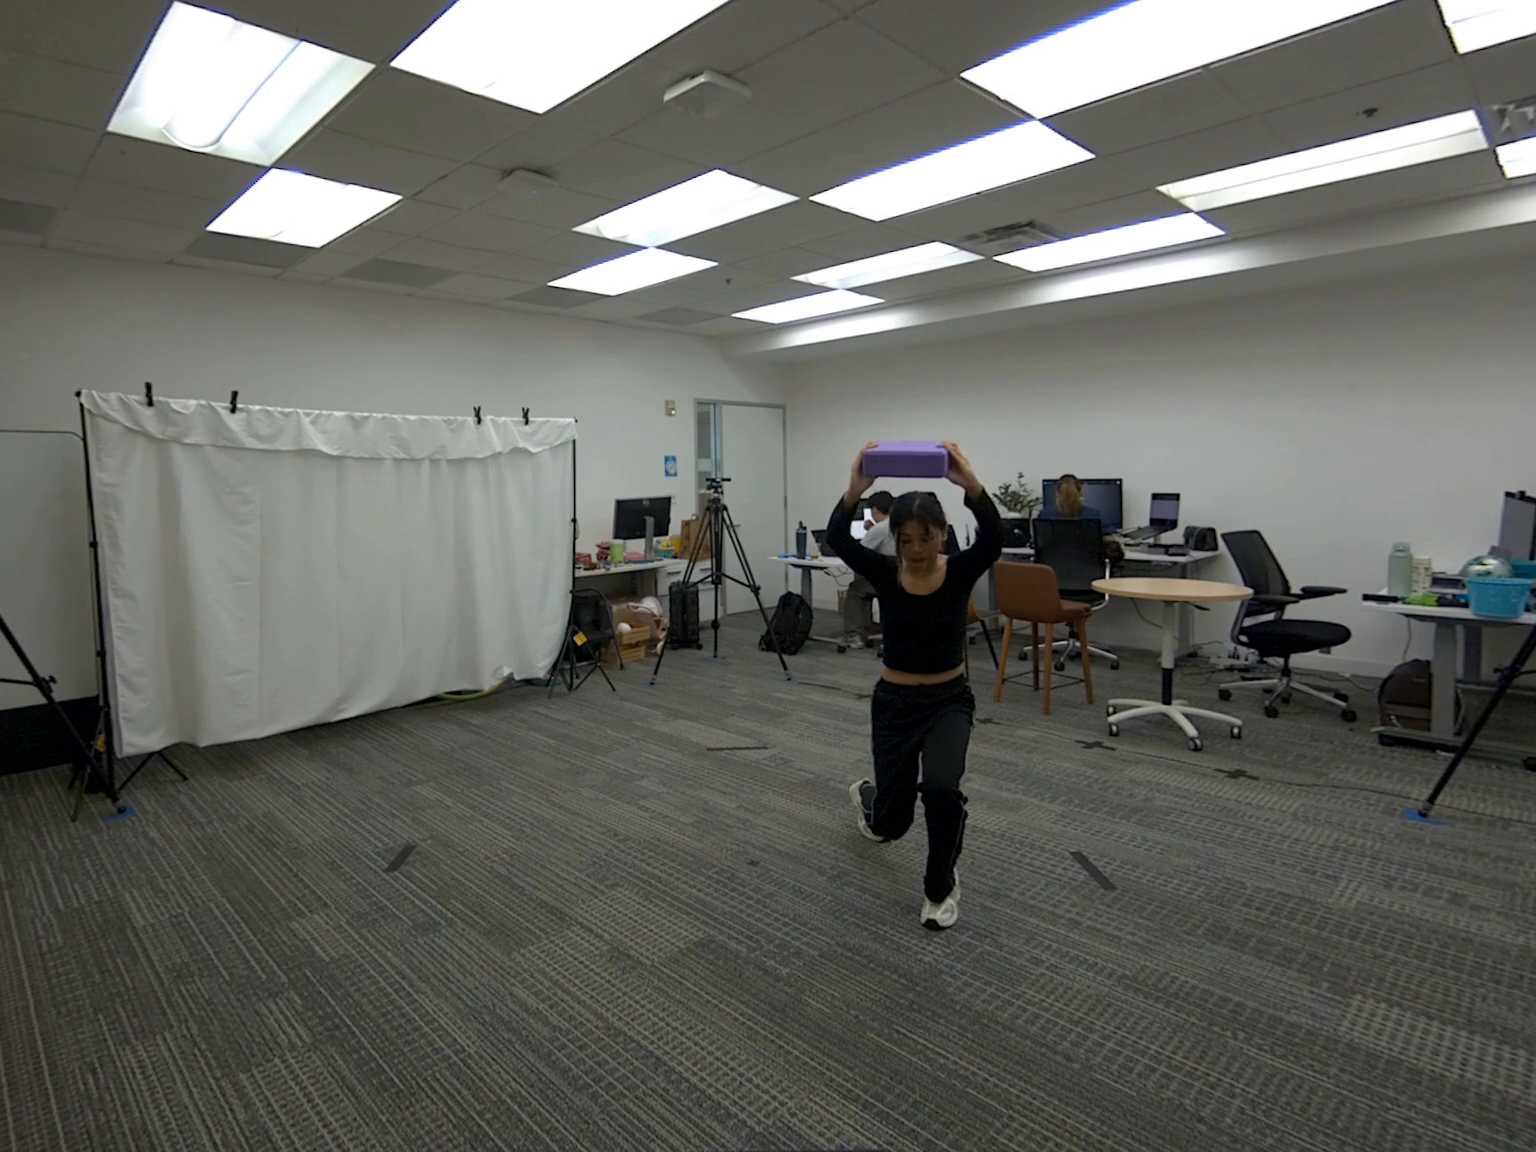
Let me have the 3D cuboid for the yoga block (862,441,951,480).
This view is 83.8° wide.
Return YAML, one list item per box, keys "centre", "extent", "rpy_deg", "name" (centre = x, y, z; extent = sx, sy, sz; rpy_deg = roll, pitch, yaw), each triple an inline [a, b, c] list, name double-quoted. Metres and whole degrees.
- centre: [0.409, -0.338, 2.424]
  extent: [0.234, 0.075, 0.148]
  rpy_deg: [4, 21, 20]
  name: "yoga block"
